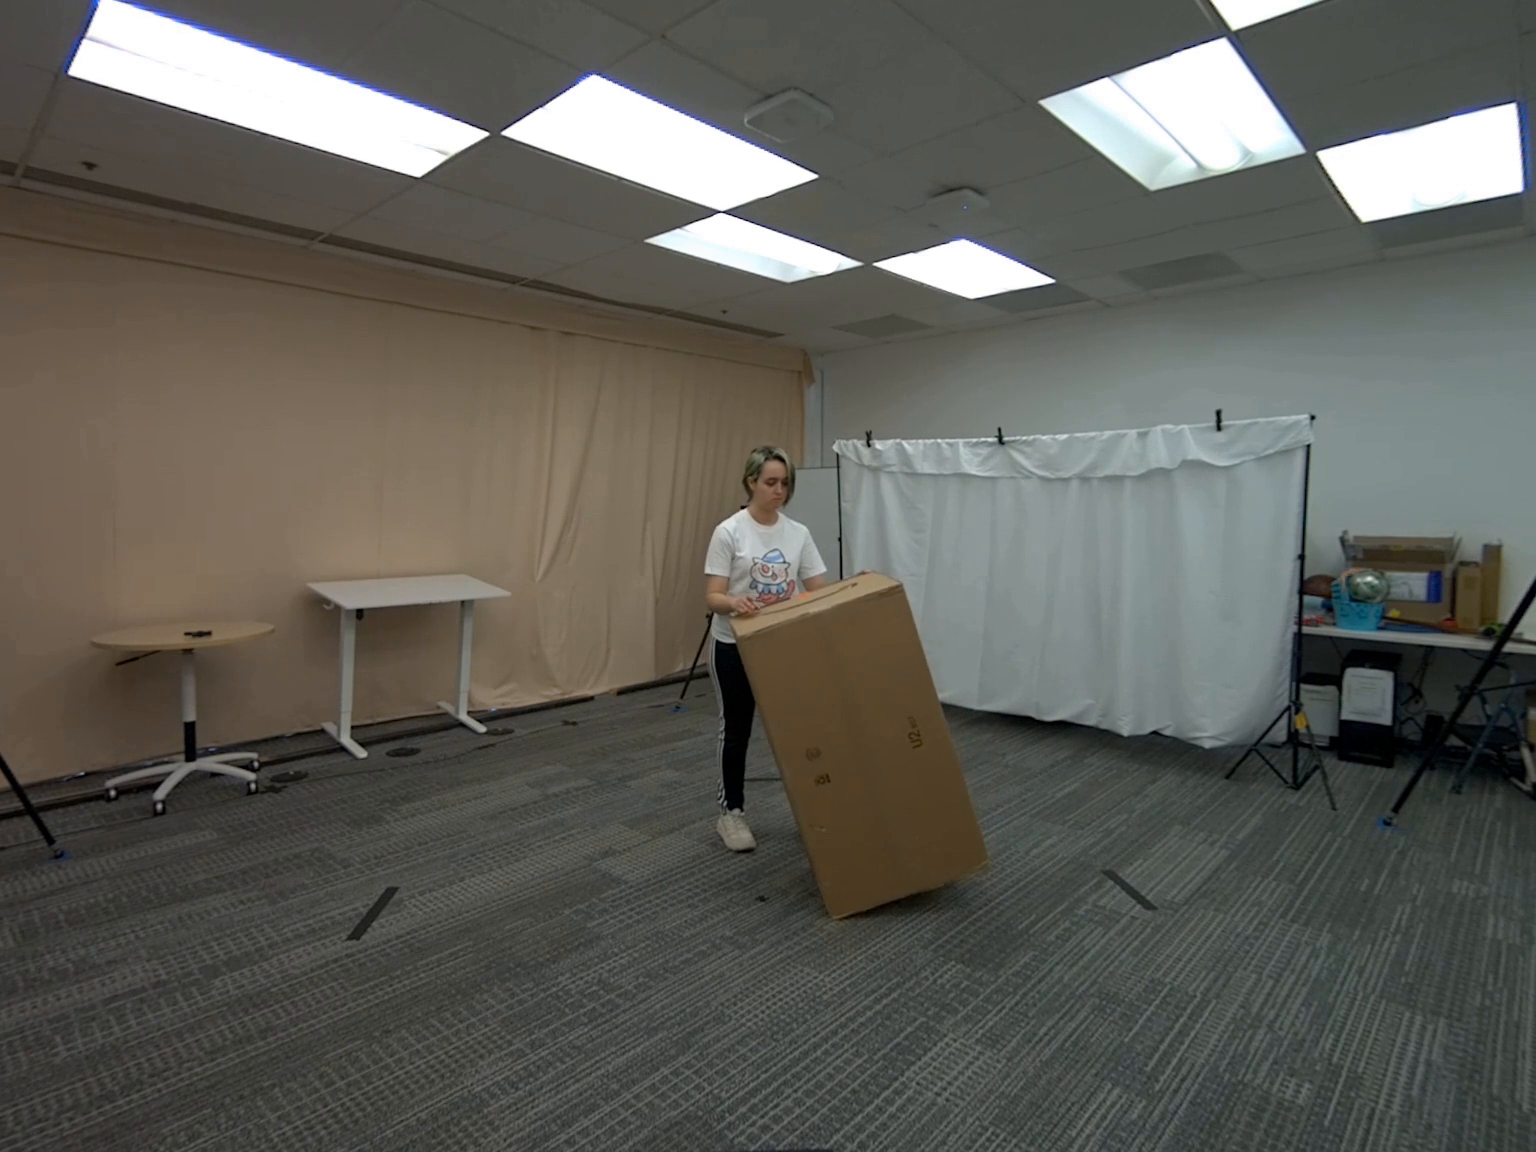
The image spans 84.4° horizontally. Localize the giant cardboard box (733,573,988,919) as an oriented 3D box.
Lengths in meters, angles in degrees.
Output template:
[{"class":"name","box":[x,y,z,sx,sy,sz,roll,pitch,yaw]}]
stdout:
[{"class":"giant cardboard box","box":[0.312,0.579,3.000,0.577,1.021,0.429,-18,5,-2]}]
